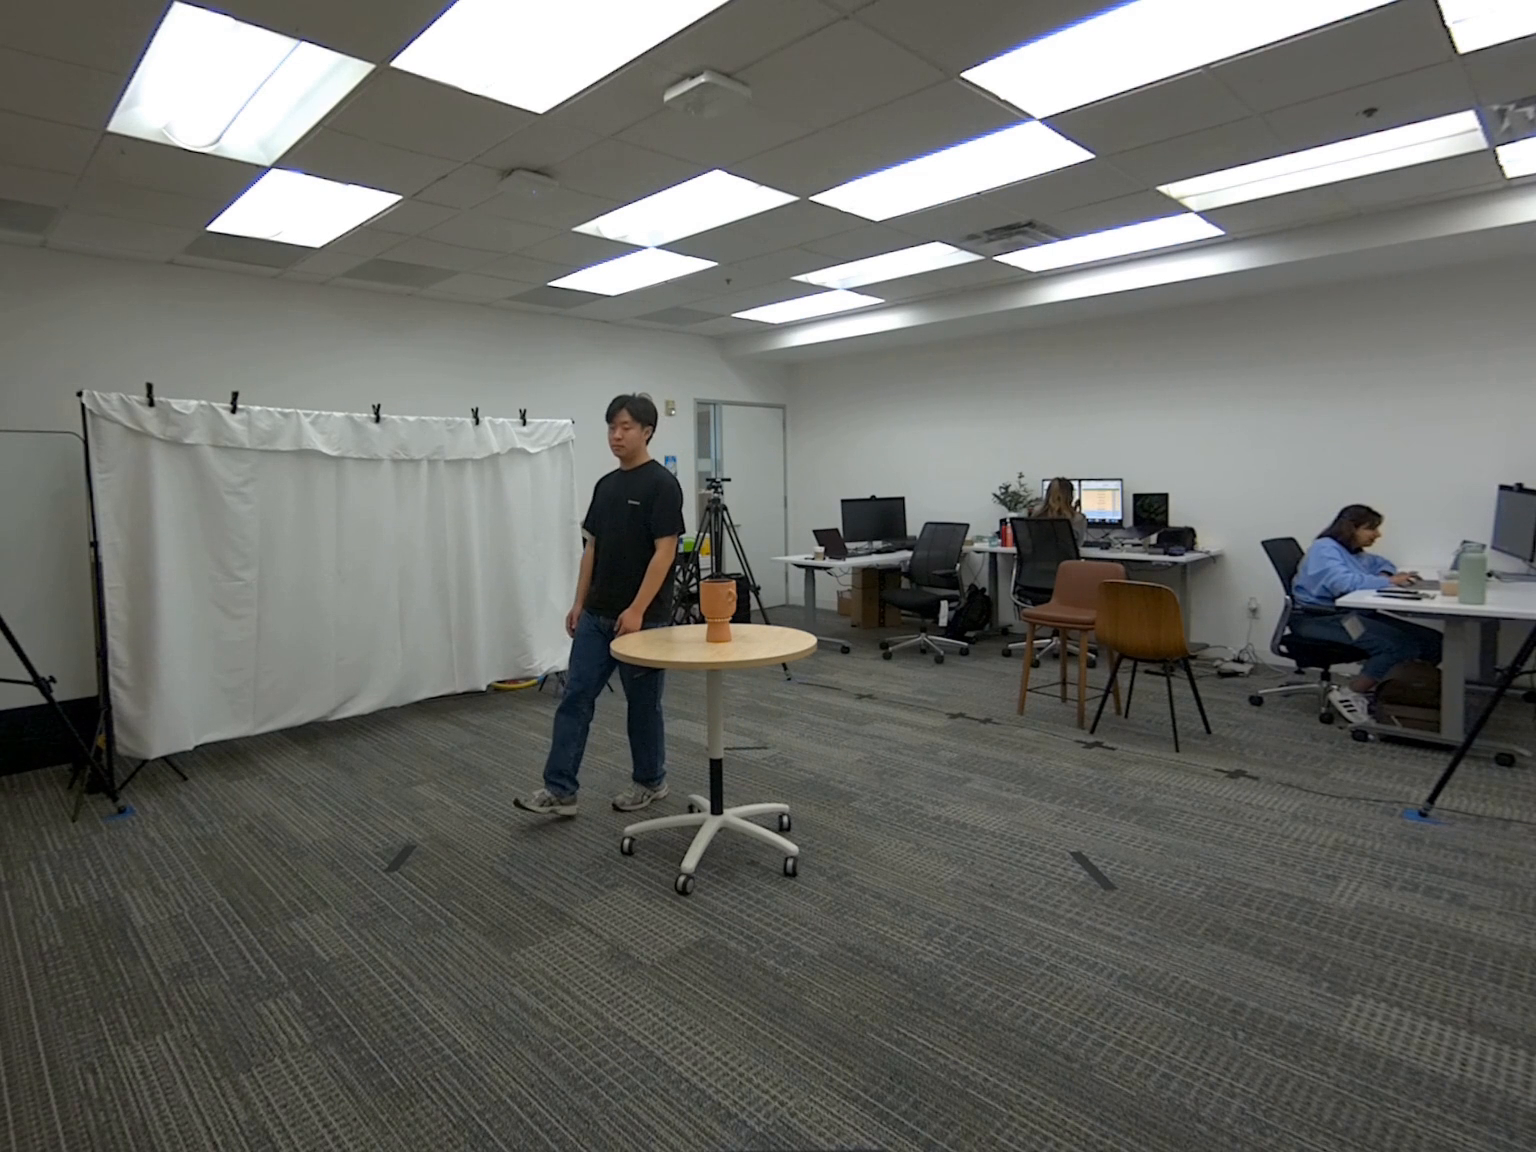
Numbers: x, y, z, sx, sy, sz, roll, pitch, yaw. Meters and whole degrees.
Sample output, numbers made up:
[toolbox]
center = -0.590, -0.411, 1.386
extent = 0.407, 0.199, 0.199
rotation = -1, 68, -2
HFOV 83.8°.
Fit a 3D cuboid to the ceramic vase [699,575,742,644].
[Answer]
[ceramic vase]
center = -0.180, 0.133, 3.171
extent = 0.134, 0.219, 0.160
rotation = -2, 4, -3
